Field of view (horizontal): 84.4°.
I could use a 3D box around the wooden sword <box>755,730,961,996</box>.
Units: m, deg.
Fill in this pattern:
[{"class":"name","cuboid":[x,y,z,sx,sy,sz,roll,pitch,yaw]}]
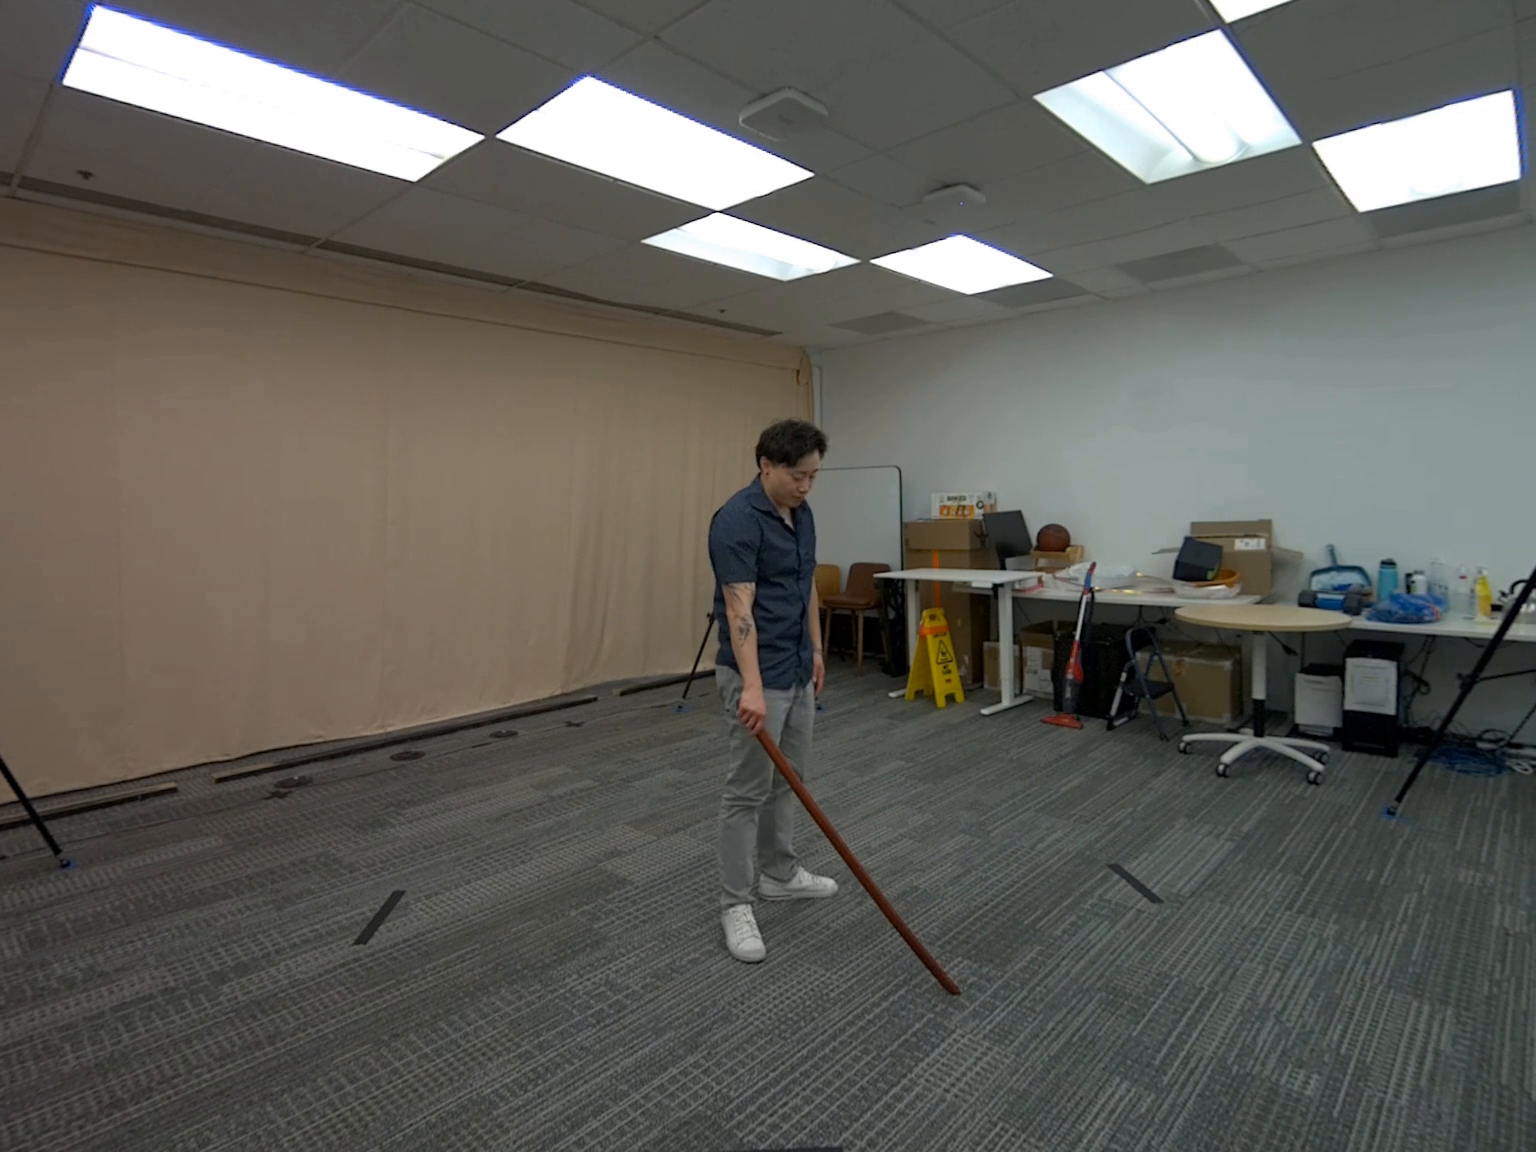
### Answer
[{"class":"wooden sword","cuboid":[0.228,0.786,2.443,0.051,1.032,0.024,-36,-6,-20]}]
